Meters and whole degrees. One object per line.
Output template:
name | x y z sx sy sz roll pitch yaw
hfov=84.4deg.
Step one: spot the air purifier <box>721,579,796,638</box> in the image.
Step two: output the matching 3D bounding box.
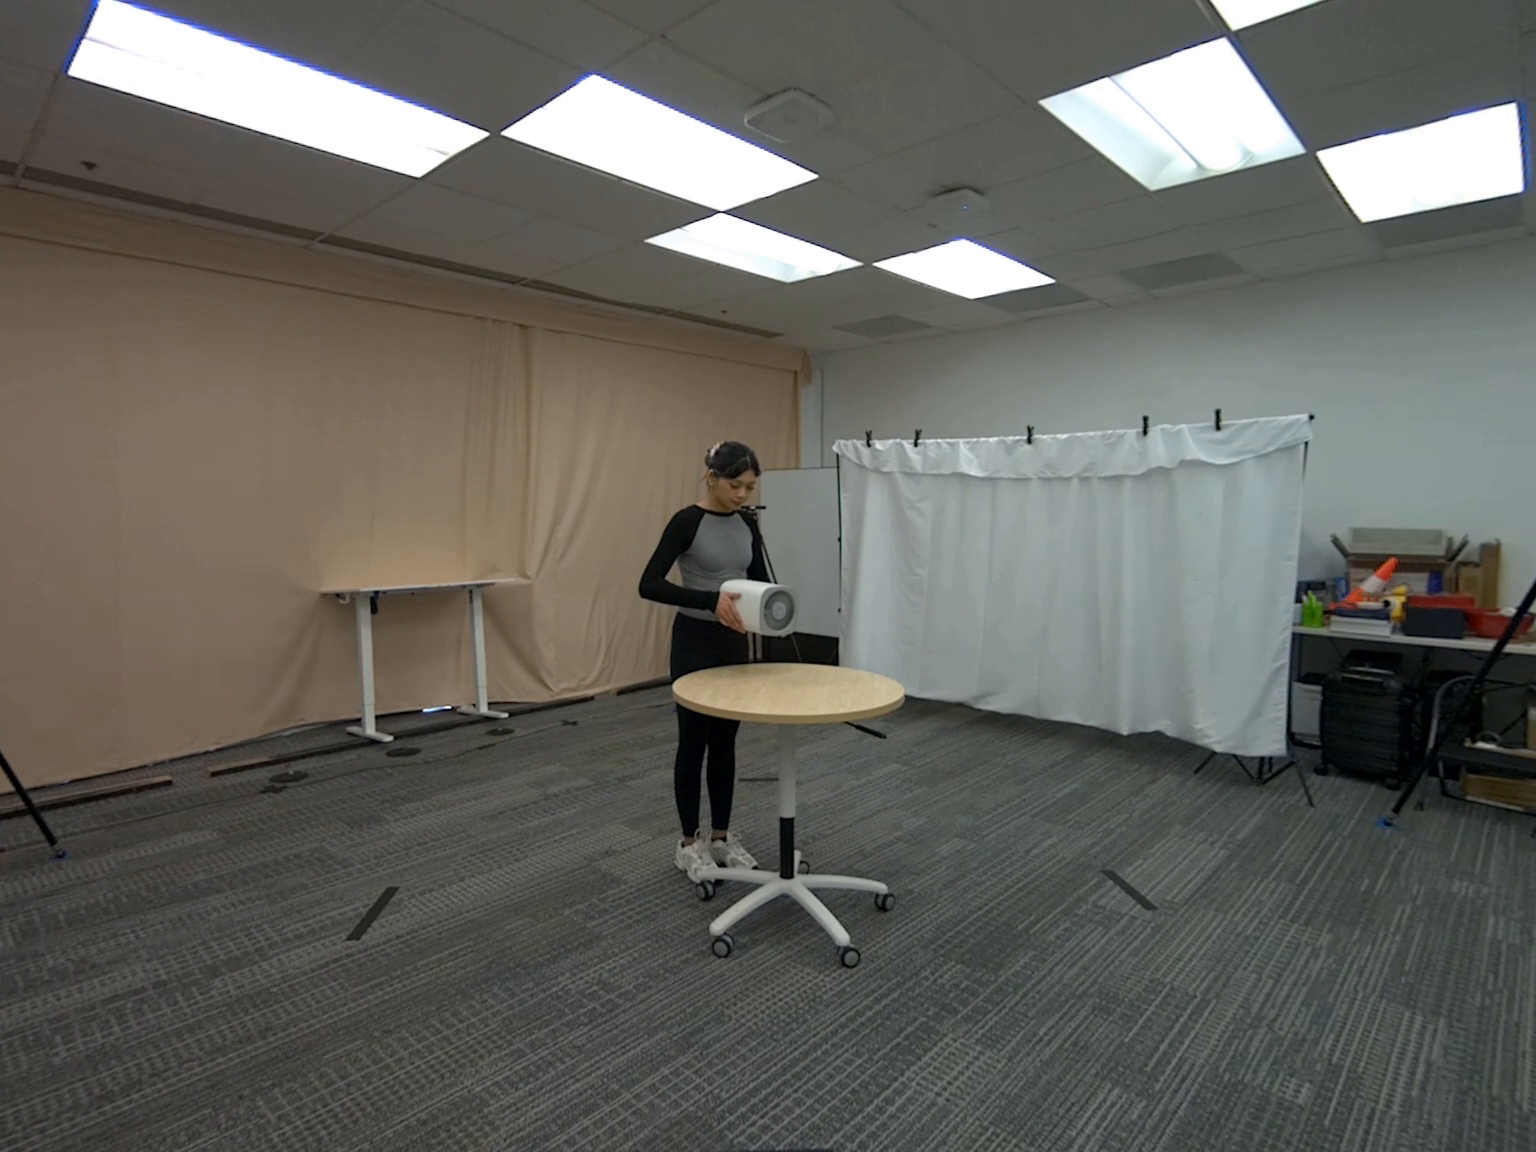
air purifier | -0.034 0.110 2.978 0.166 0.171 0.273 2 2 -34
